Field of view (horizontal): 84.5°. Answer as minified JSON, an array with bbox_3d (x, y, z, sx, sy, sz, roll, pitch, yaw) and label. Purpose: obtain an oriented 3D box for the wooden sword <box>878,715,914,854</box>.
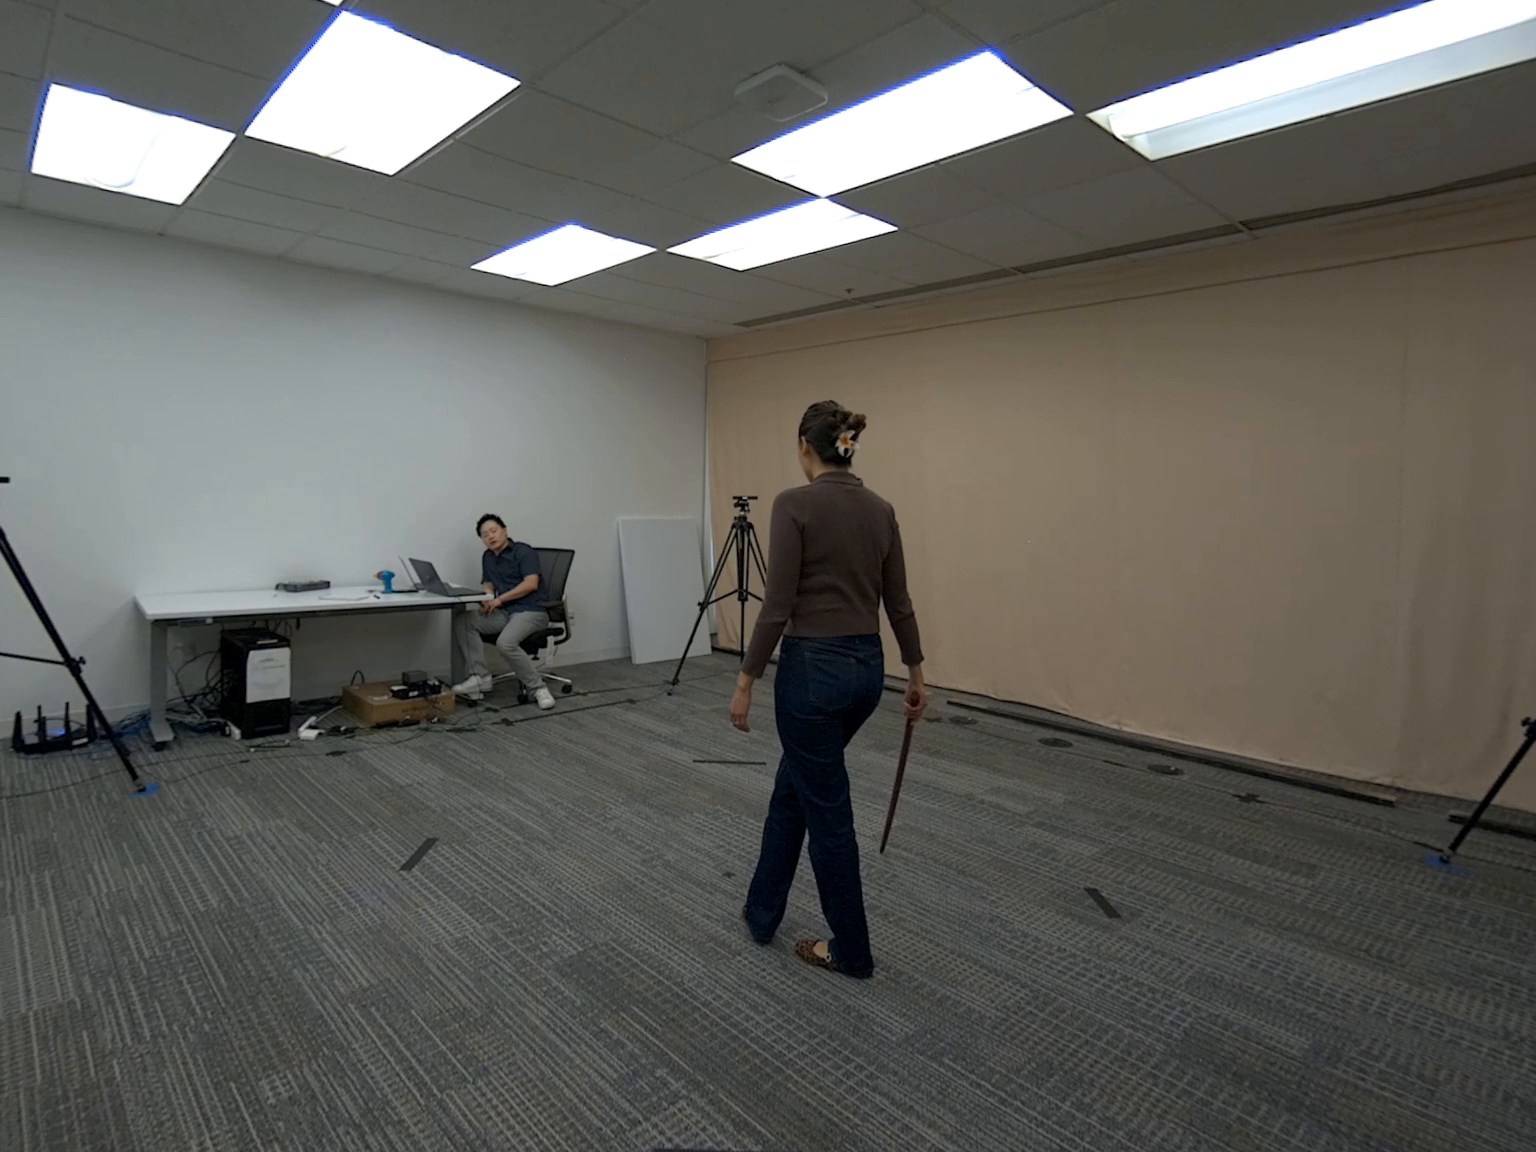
[{"bbox_3d":[0.446,0.729,3.003,0.051,1.002,0.025,-10,45,-11],"label":"wooden sword"}]
